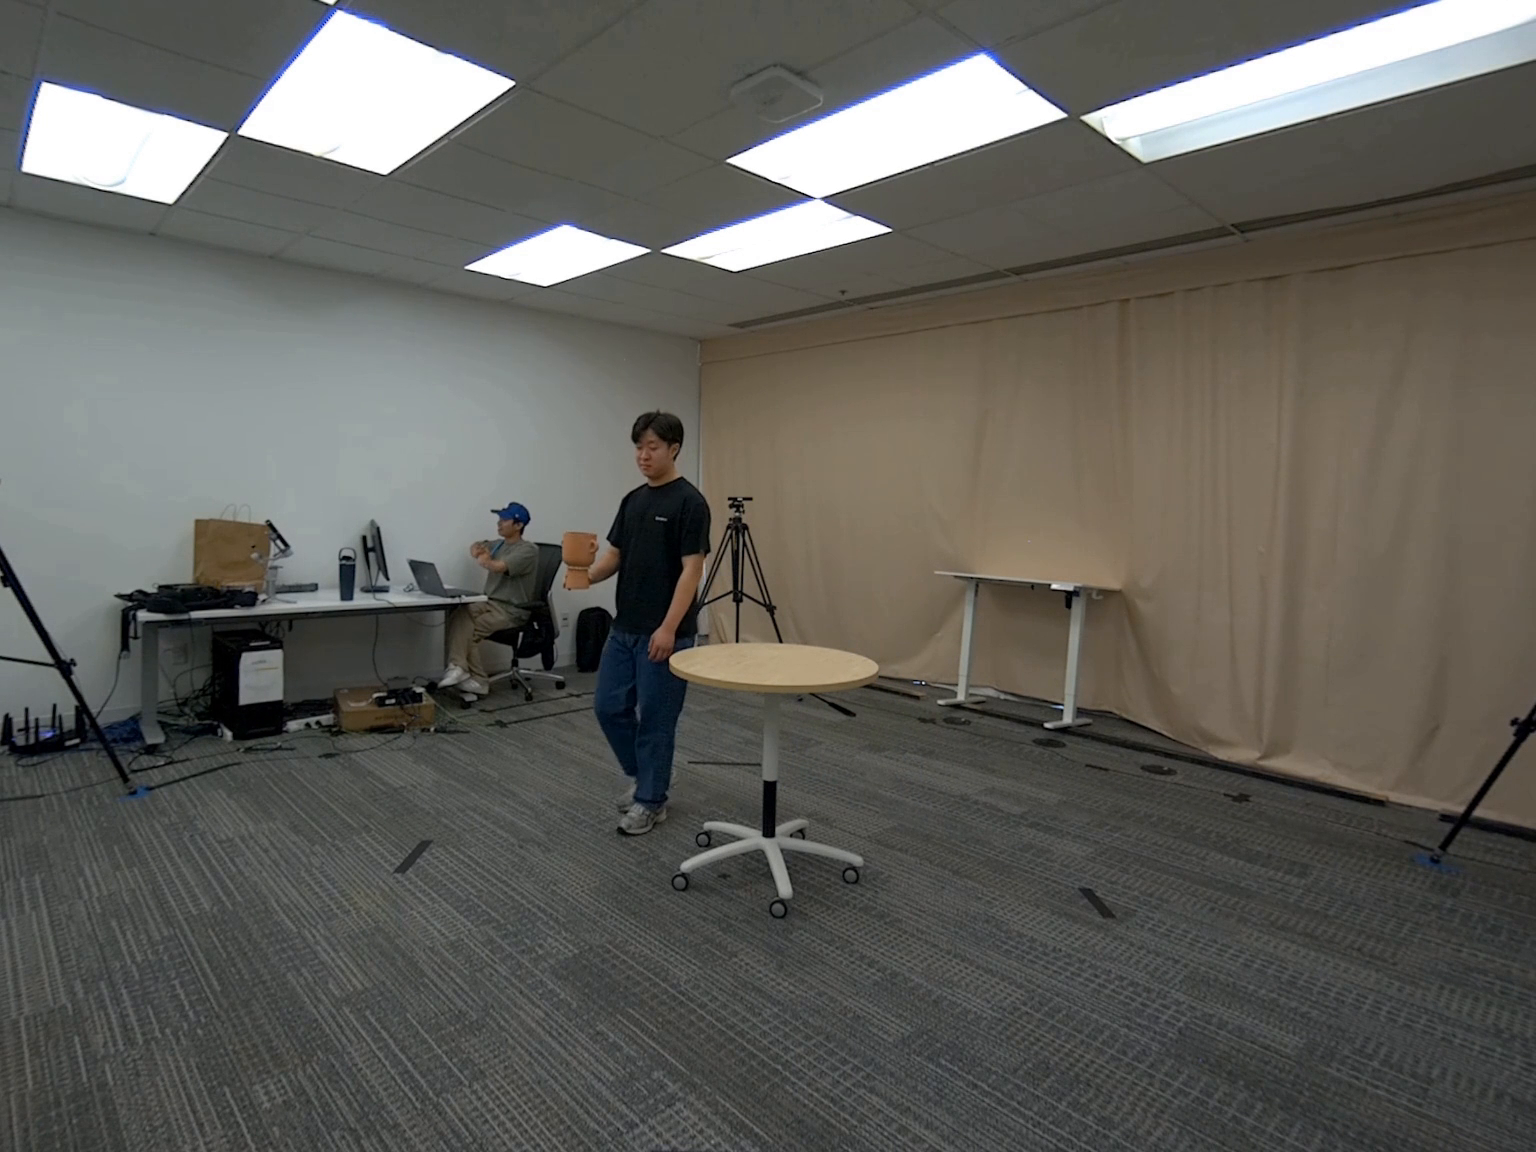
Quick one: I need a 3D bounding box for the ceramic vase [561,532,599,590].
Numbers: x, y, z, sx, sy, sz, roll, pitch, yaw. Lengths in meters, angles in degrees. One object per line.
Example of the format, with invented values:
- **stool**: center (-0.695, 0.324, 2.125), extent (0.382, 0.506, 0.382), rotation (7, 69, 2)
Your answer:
- **ceramic vase**: center (-0.768, -0.063, 3.362), extent (0.133, 0.219, 0.161), rotation (3, 4, -19)
